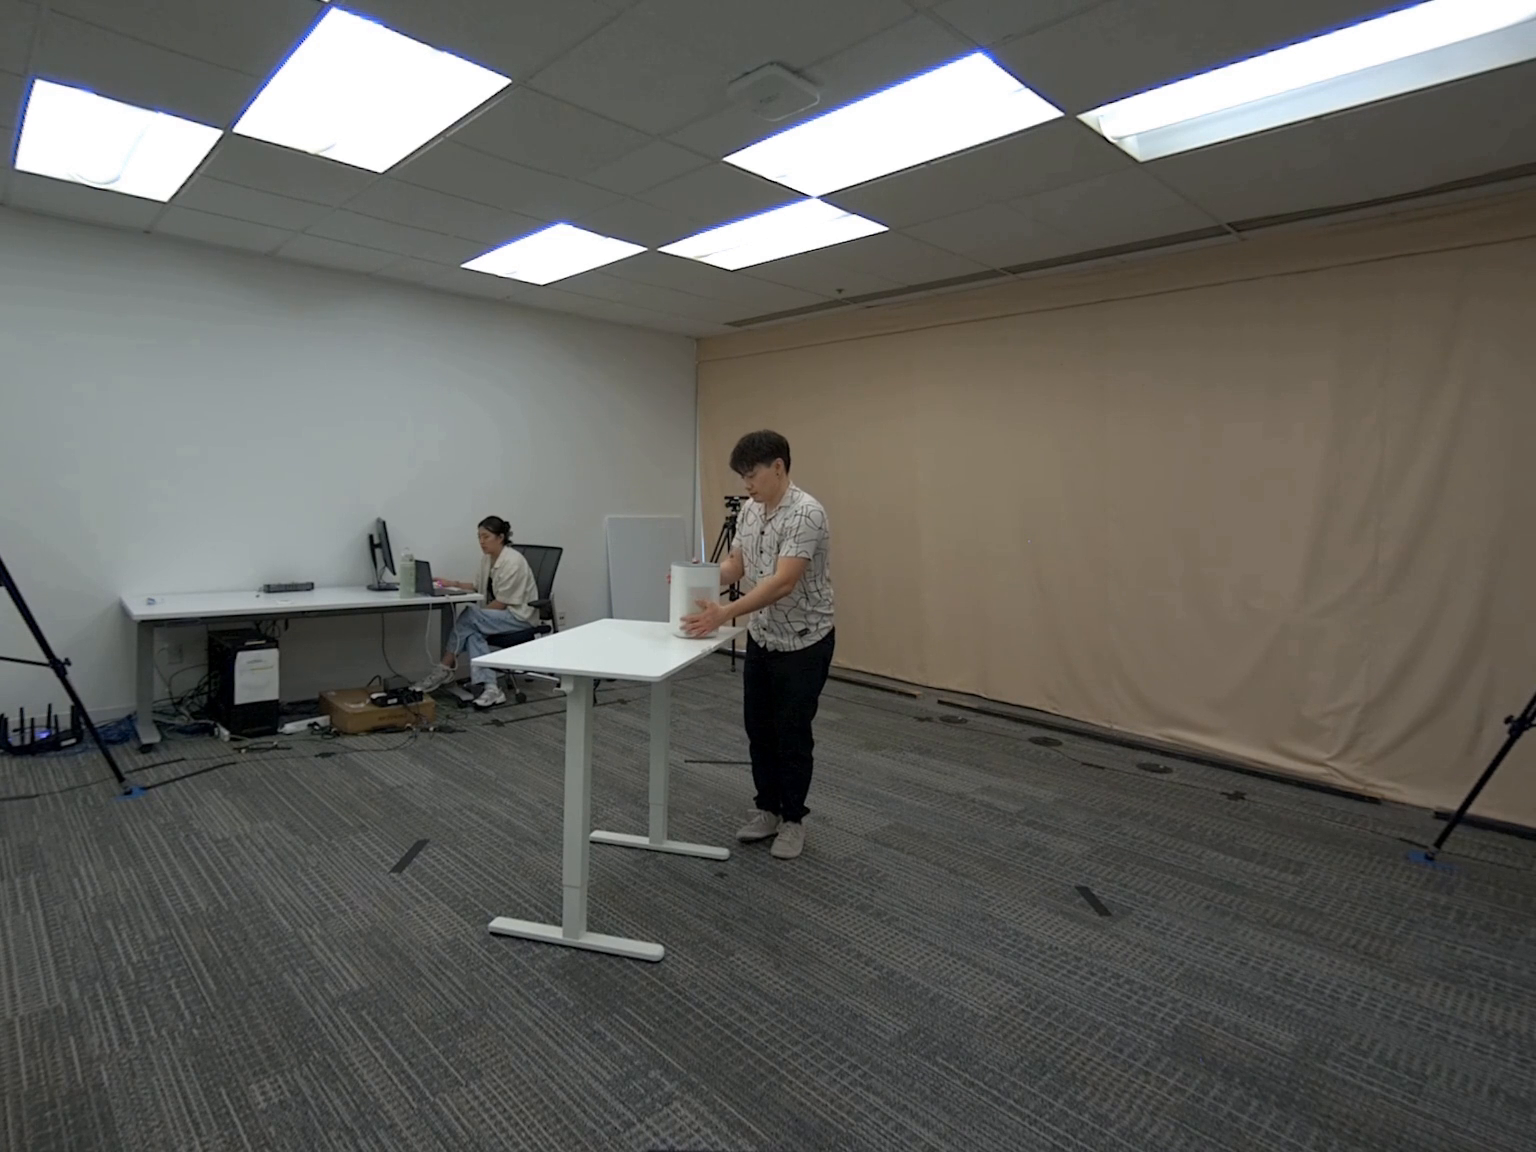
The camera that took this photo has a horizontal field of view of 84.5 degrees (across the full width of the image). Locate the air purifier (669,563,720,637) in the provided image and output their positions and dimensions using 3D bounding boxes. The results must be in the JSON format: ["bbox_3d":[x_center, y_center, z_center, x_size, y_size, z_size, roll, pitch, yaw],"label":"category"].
[{"bbox_3d":[-0.283,0.090,3.106,0.170,0.265,0.173,-1,3,-15],"label":"air purifier"}]
